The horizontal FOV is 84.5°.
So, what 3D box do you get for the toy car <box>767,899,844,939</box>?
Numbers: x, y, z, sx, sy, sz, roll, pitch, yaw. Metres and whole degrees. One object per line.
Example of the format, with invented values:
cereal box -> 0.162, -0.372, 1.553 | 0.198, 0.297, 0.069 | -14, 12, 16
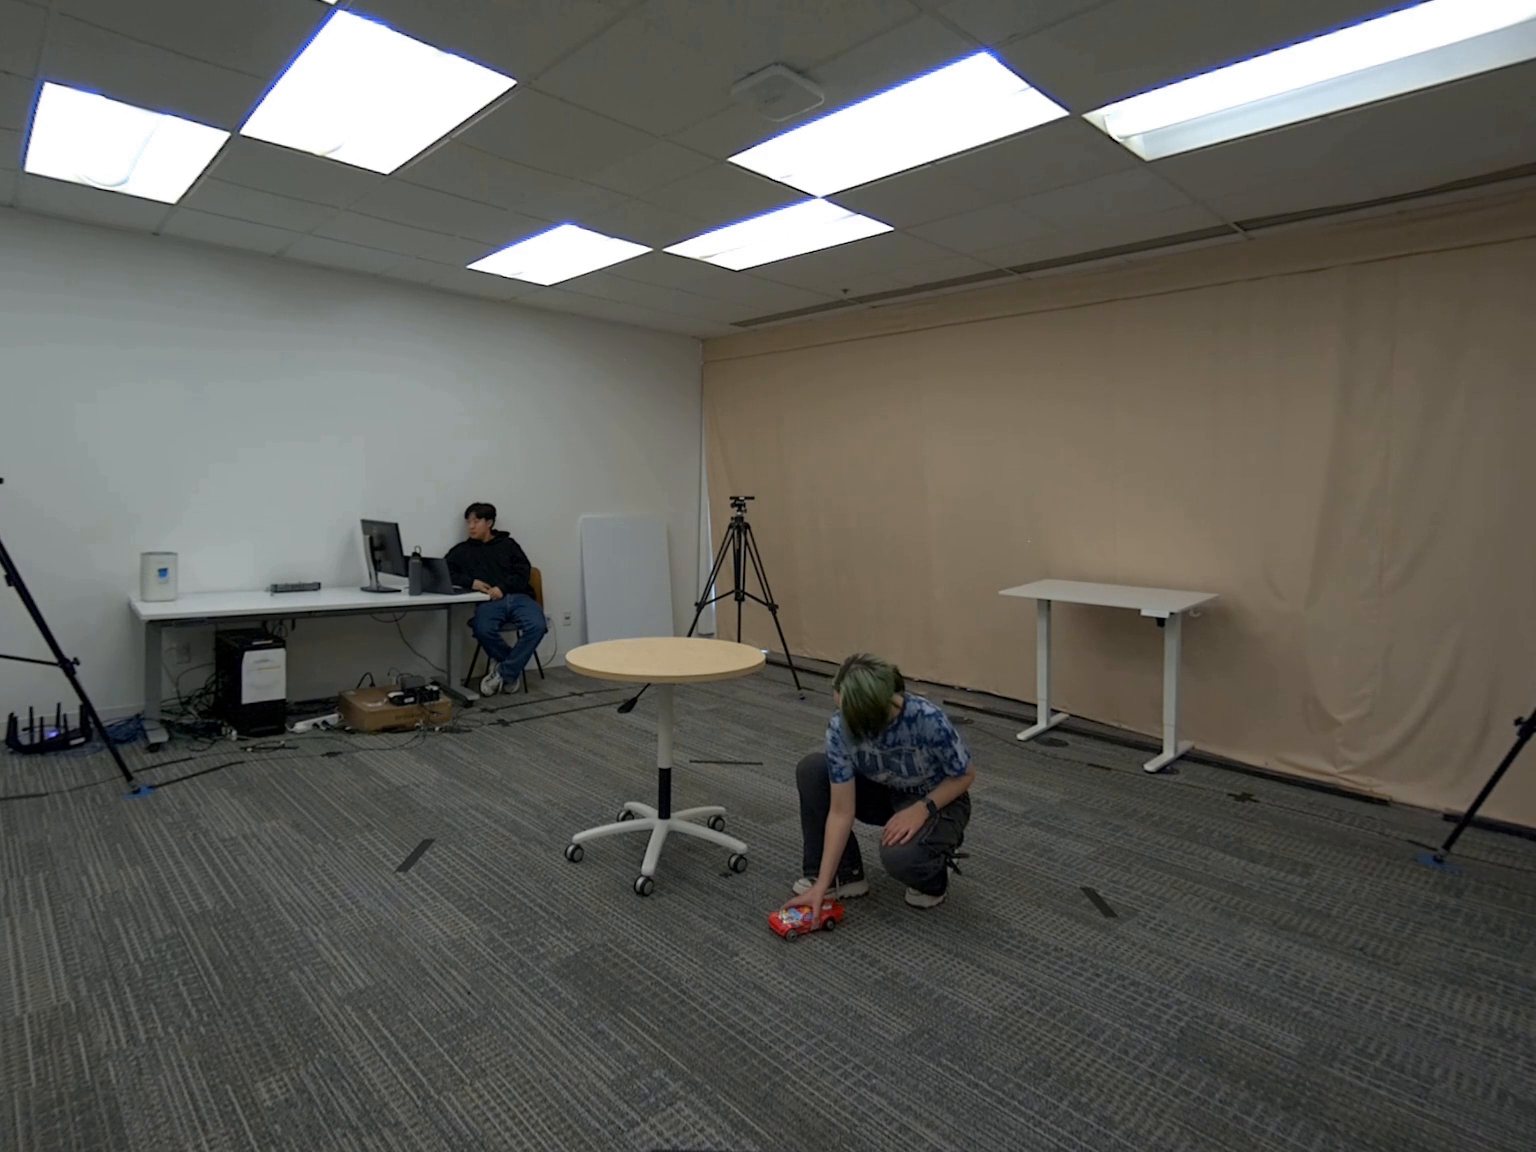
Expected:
toy car -> 0.121, 1.110, 2.733 | 0.250, 0.083, 0.133 | -12, 8, -29
